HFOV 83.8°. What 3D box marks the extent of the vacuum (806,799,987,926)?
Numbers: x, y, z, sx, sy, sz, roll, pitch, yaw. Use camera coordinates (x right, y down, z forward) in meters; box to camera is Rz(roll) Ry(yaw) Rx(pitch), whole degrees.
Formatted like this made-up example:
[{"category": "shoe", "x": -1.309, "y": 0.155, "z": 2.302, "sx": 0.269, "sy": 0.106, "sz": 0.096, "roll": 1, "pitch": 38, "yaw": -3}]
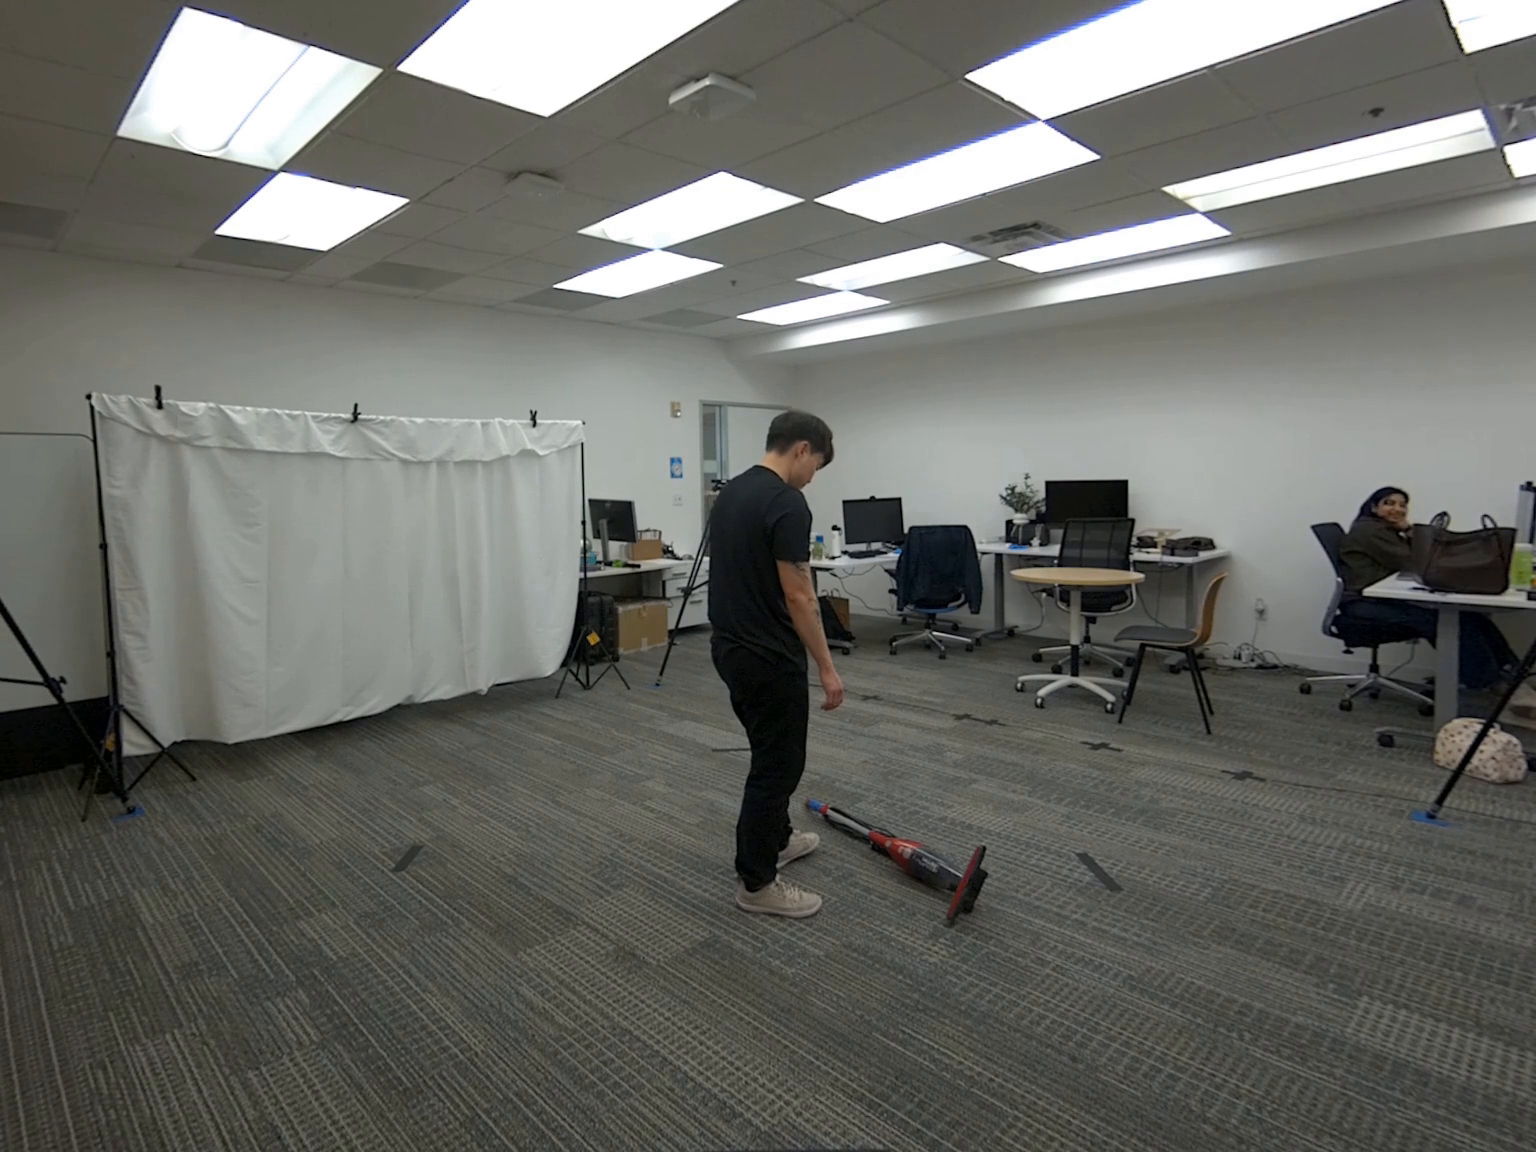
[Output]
[{"category": "vacuum", "x": 0.408, "y": 0.980, "z": 3.195, "sx": 0.140, "sy": 0.253, "sz": 1.072, "roll": 35, "pitch": -14, "yaw": -22}]
